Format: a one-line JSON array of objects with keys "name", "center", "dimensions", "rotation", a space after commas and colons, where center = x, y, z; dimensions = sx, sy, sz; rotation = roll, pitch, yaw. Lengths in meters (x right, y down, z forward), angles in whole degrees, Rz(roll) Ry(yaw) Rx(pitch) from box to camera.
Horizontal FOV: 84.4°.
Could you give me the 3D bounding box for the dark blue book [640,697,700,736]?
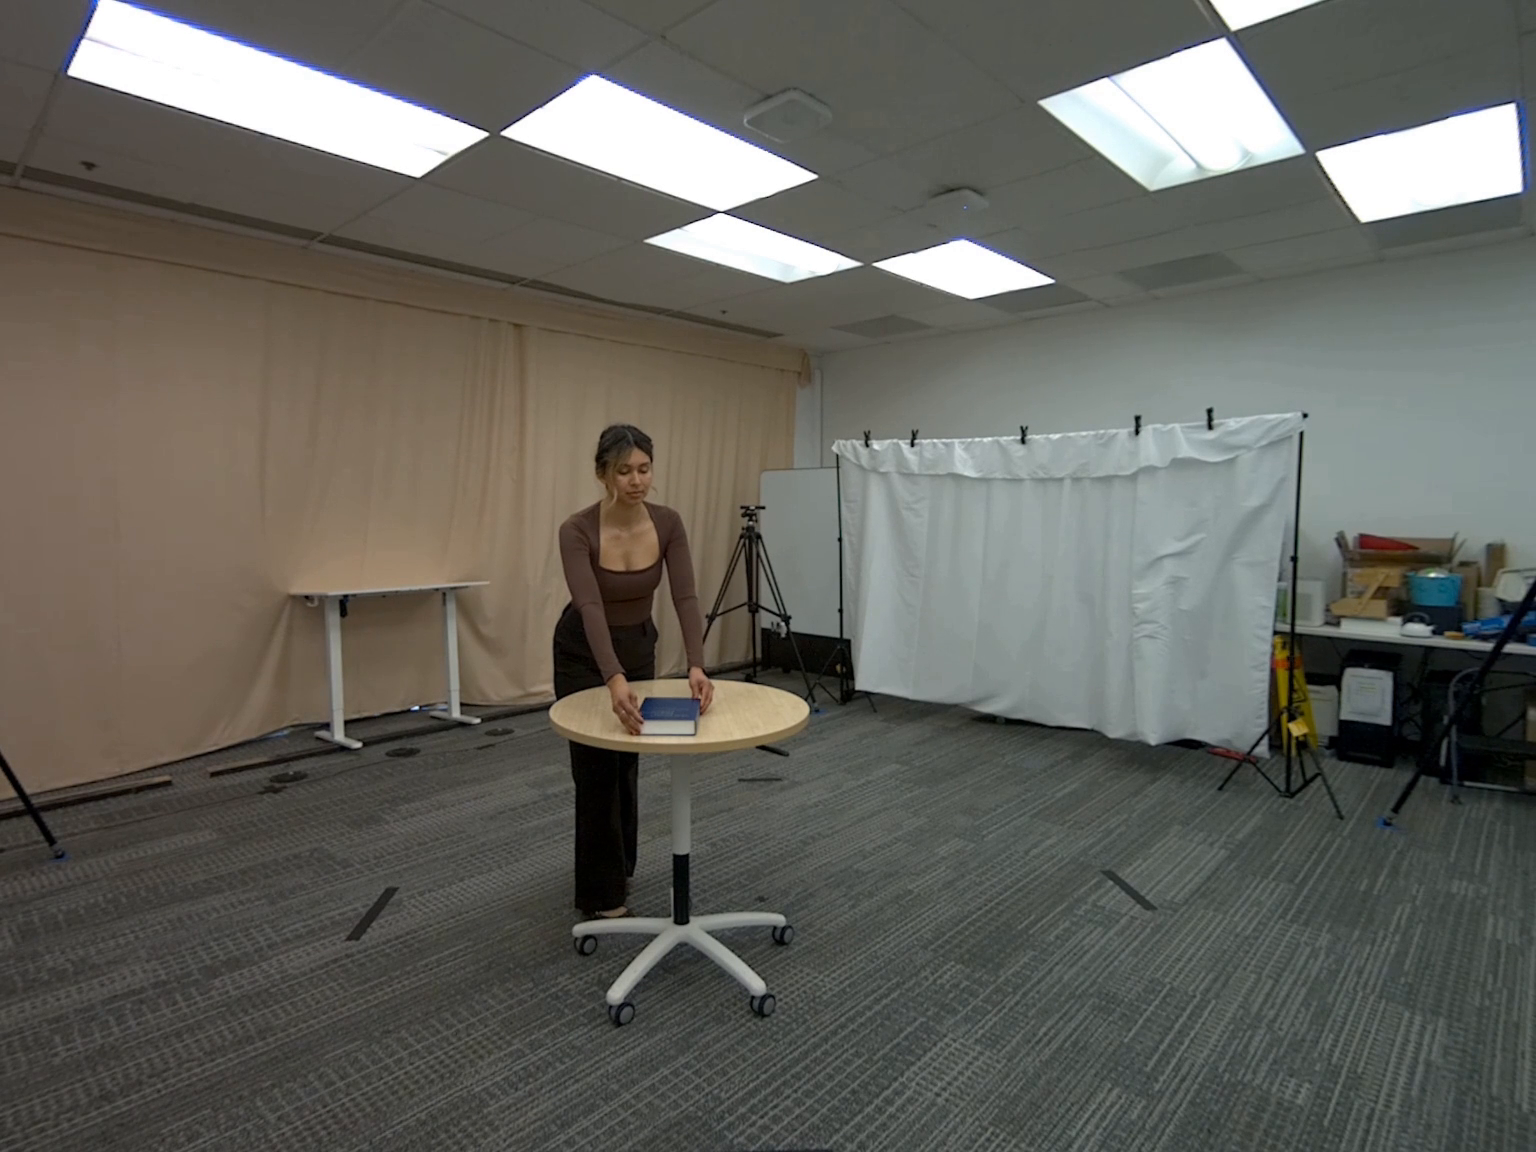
[{"name": "dark blue book", "center": [-0.267, 0.388, 2.299], "dimensions": [0.164, 0.045, 0.245], "rotation": [0, 4, 0]}]
